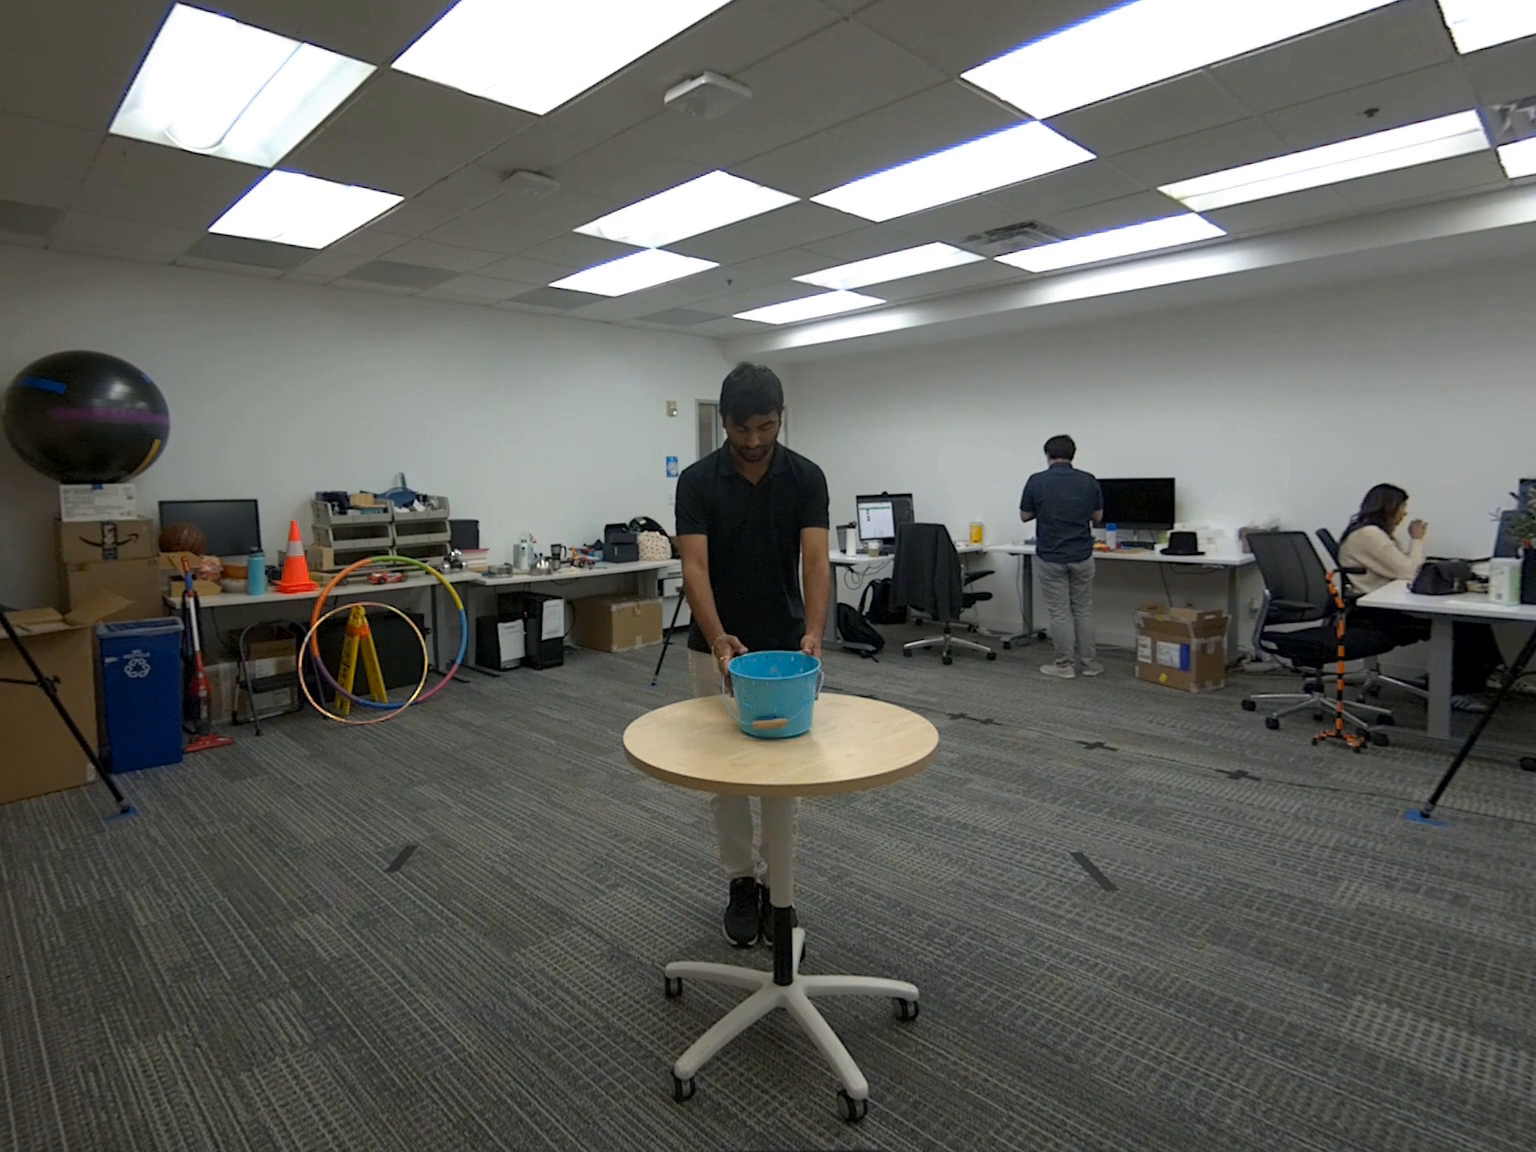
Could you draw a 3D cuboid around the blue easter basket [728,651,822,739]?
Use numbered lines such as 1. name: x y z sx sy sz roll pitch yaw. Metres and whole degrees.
1. blue easter basket: 0.015 0.288 2.088 0.243 0.155 0.245 -3 8 -1
